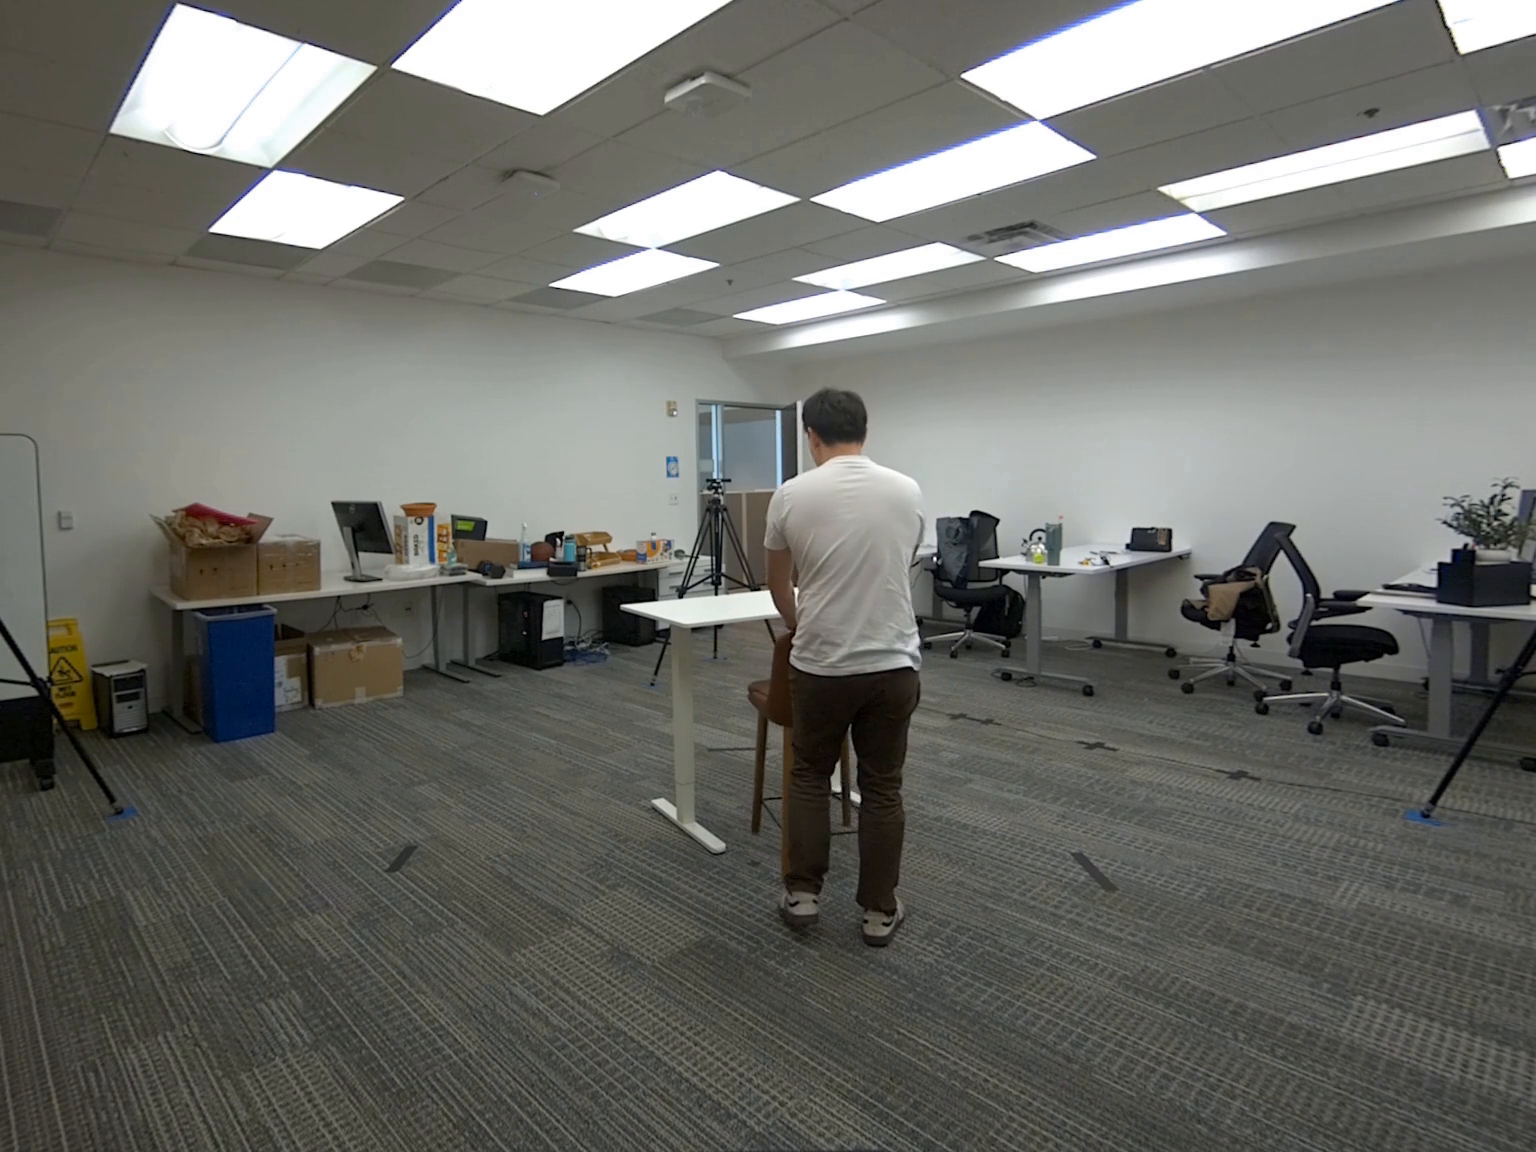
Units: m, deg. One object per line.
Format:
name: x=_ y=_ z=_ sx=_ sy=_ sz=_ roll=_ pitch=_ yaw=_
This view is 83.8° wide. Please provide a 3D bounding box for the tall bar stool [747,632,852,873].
tall bar stool: x=0.183 y=0.597 z=3.155 sx=0.451 sy=0.885 sz=0.475 roll=-1 pitch=6 yaw=-12
